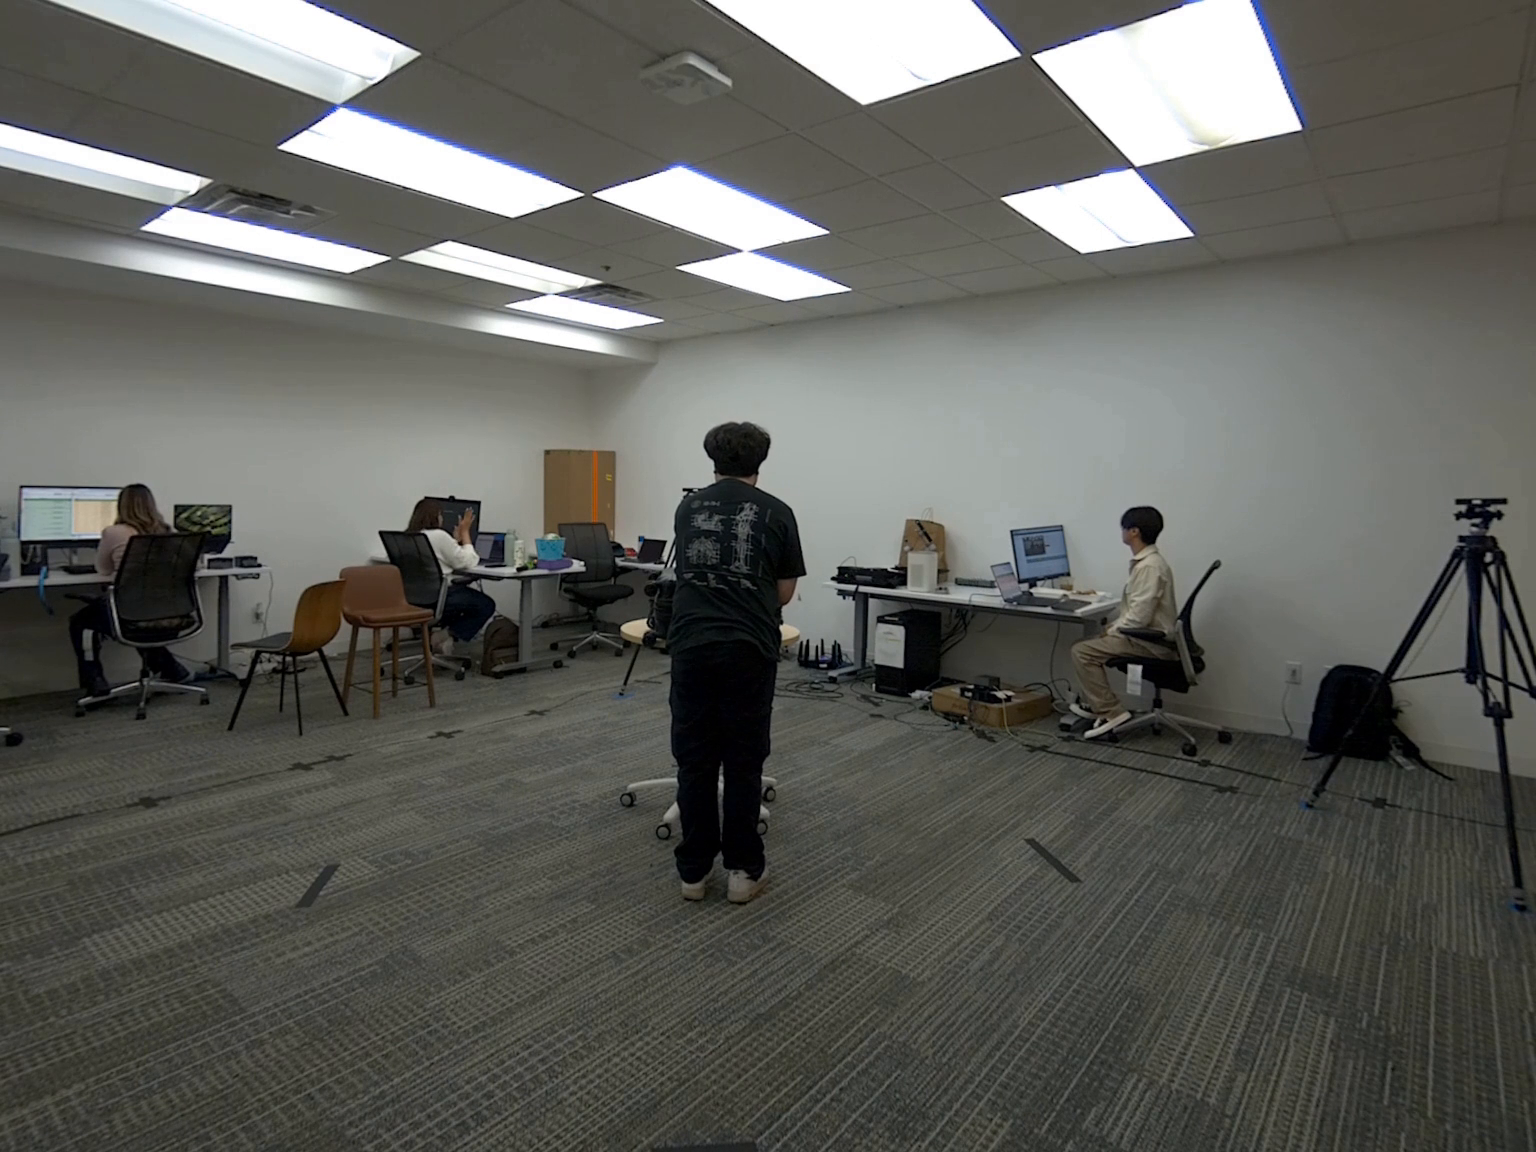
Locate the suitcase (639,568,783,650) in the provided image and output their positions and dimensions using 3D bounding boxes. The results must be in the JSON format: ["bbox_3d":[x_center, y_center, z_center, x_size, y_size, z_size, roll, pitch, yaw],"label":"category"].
[{"bbox_3d":[-0.233,0.124,3.433,0.549,0.247,0.378,2,7,-2],"label":"suitcase"}]
